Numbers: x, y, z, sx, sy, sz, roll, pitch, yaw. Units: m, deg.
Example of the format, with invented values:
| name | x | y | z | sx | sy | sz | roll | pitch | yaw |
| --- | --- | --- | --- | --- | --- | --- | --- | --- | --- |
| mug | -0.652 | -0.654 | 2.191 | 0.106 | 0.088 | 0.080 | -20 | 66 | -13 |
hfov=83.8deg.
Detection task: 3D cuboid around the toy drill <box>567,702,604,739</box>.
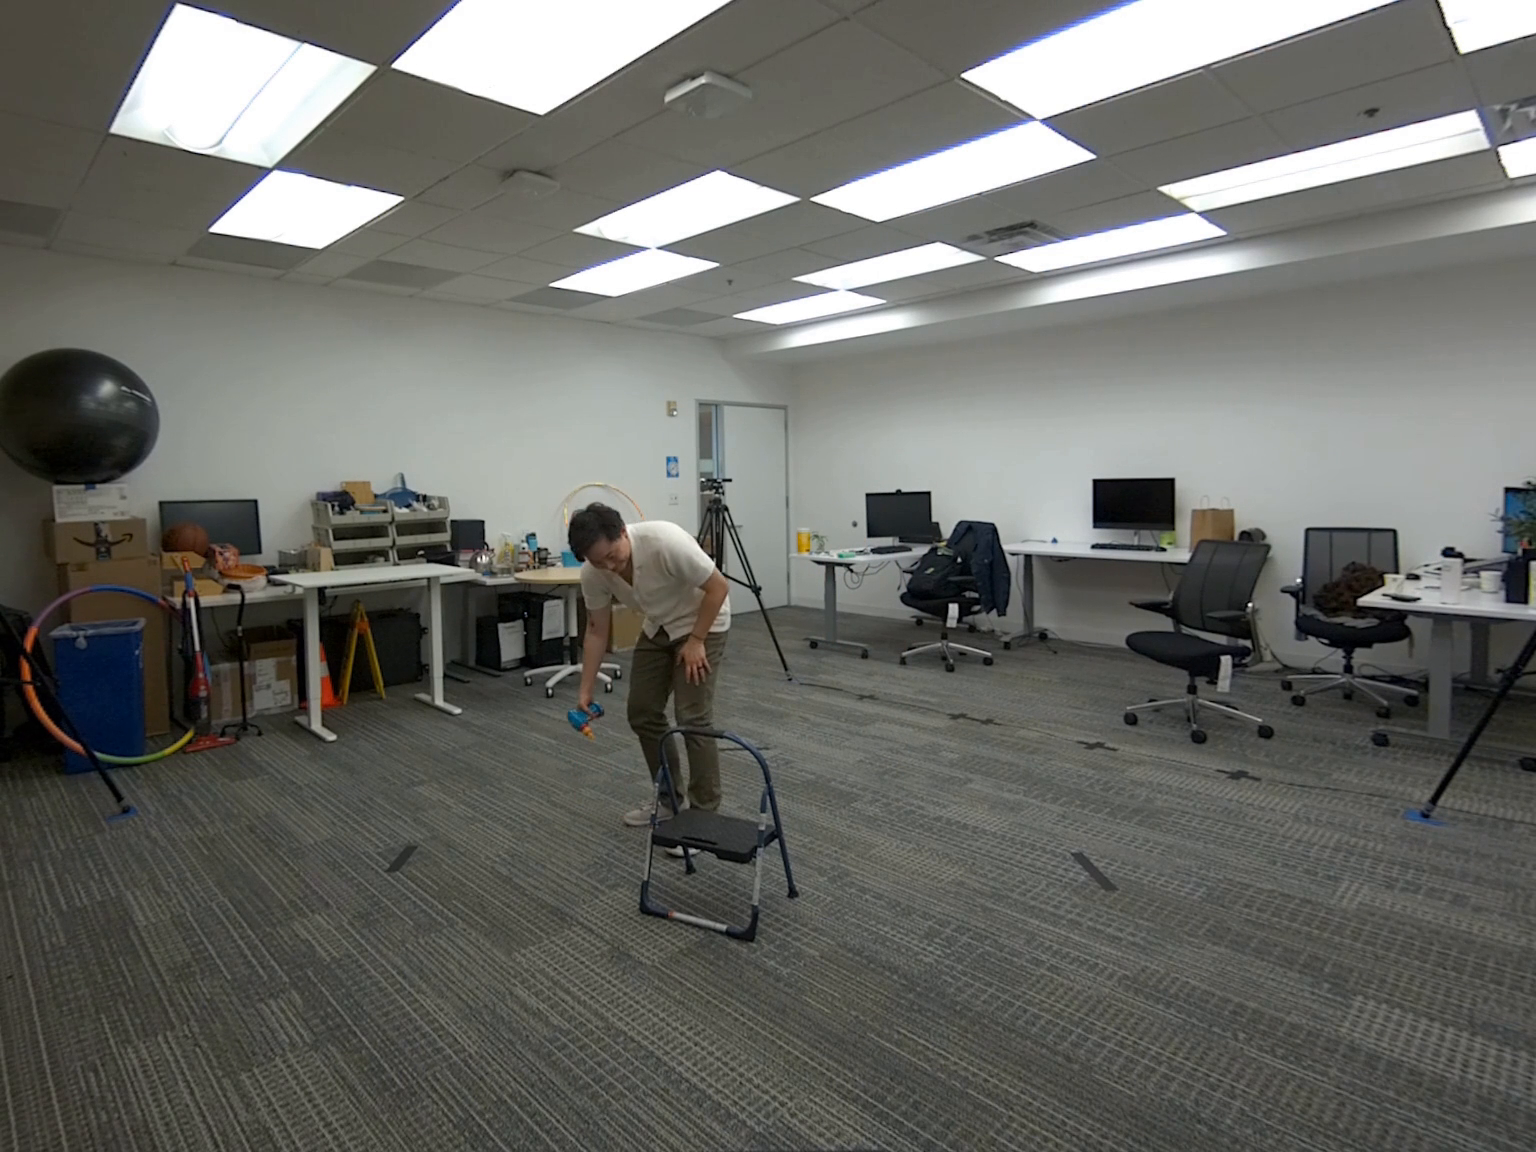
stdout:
| name | x | y | z | sx | sy | sz | roll | pitch | yaw |
| --- | --- | --- | --- | --- | --- | --- | --- | --- | --- |
| toy drill | -0.699 | 0.574 | 3.363 | 0.143 | 0.060 | 0.176 | -14 | 45 | -42 |
